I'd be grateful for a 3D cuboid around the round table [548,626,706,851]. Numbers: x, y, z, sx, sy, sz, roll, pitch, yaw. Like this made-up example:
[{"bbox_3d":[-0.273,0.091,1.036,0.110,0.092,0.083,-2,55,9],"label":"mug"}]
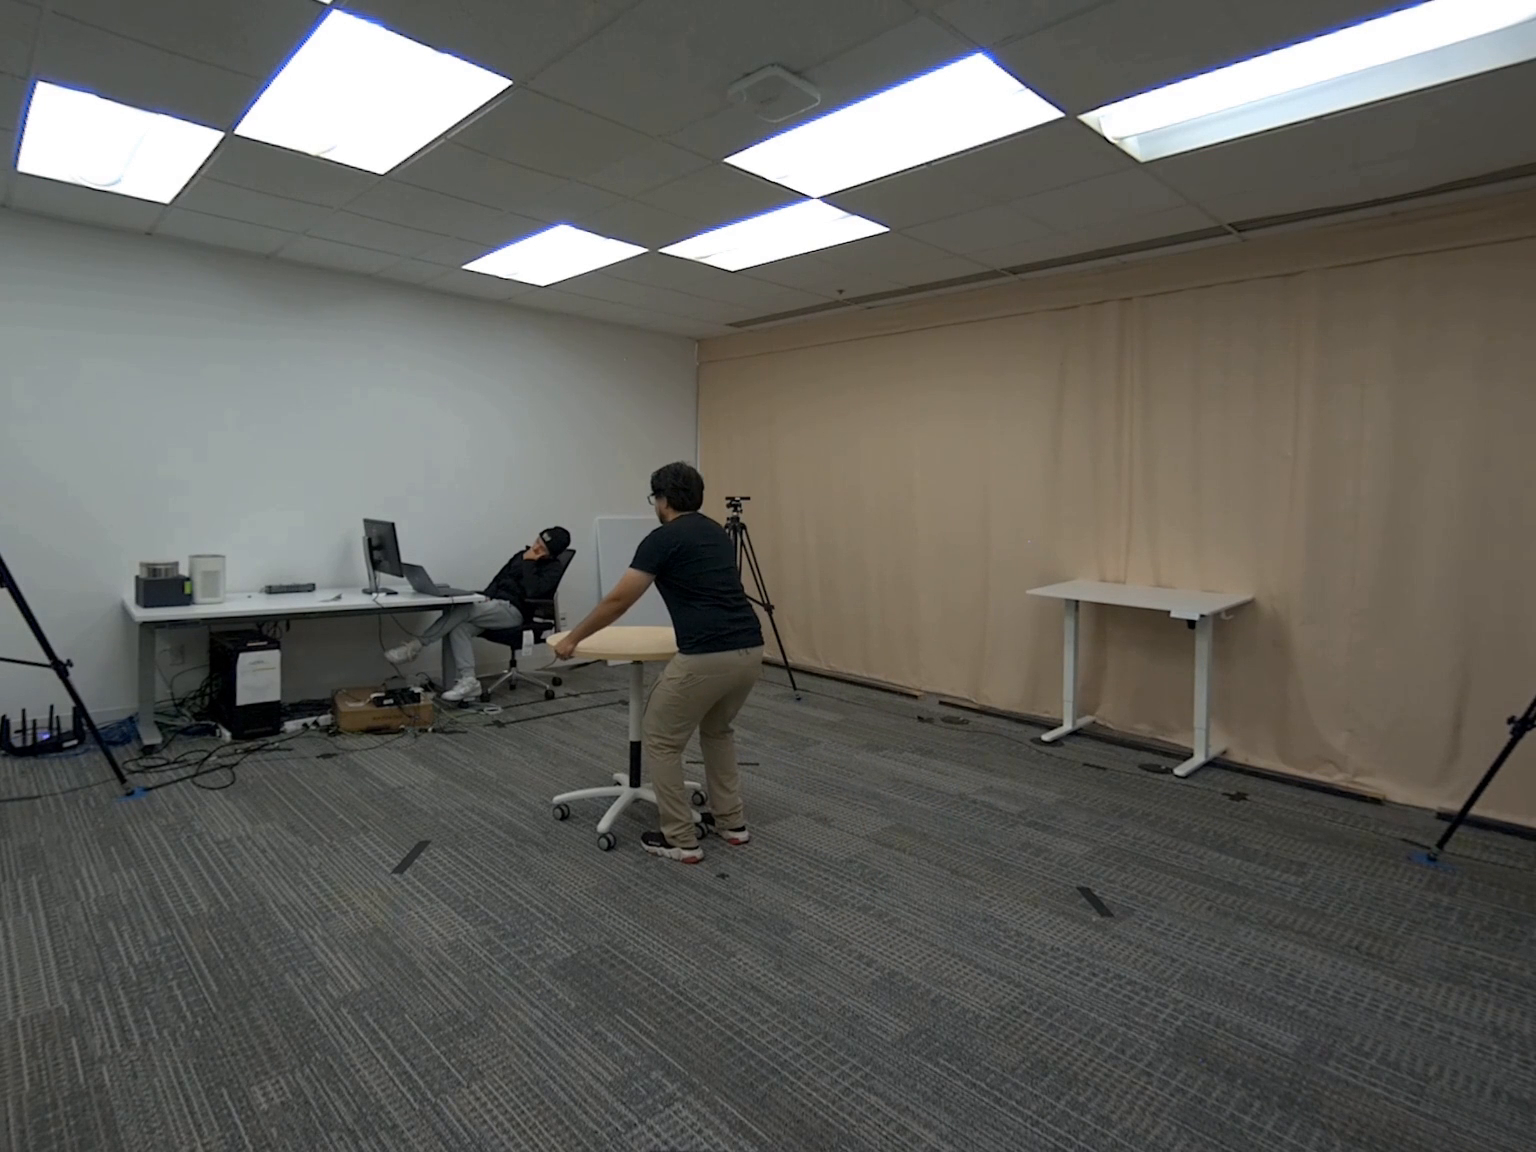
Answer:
[{"bbox_3d":[-0.587,0.655,3.617,0.784,0.785,0.787,1,3,-1],"label":"round table"}]
